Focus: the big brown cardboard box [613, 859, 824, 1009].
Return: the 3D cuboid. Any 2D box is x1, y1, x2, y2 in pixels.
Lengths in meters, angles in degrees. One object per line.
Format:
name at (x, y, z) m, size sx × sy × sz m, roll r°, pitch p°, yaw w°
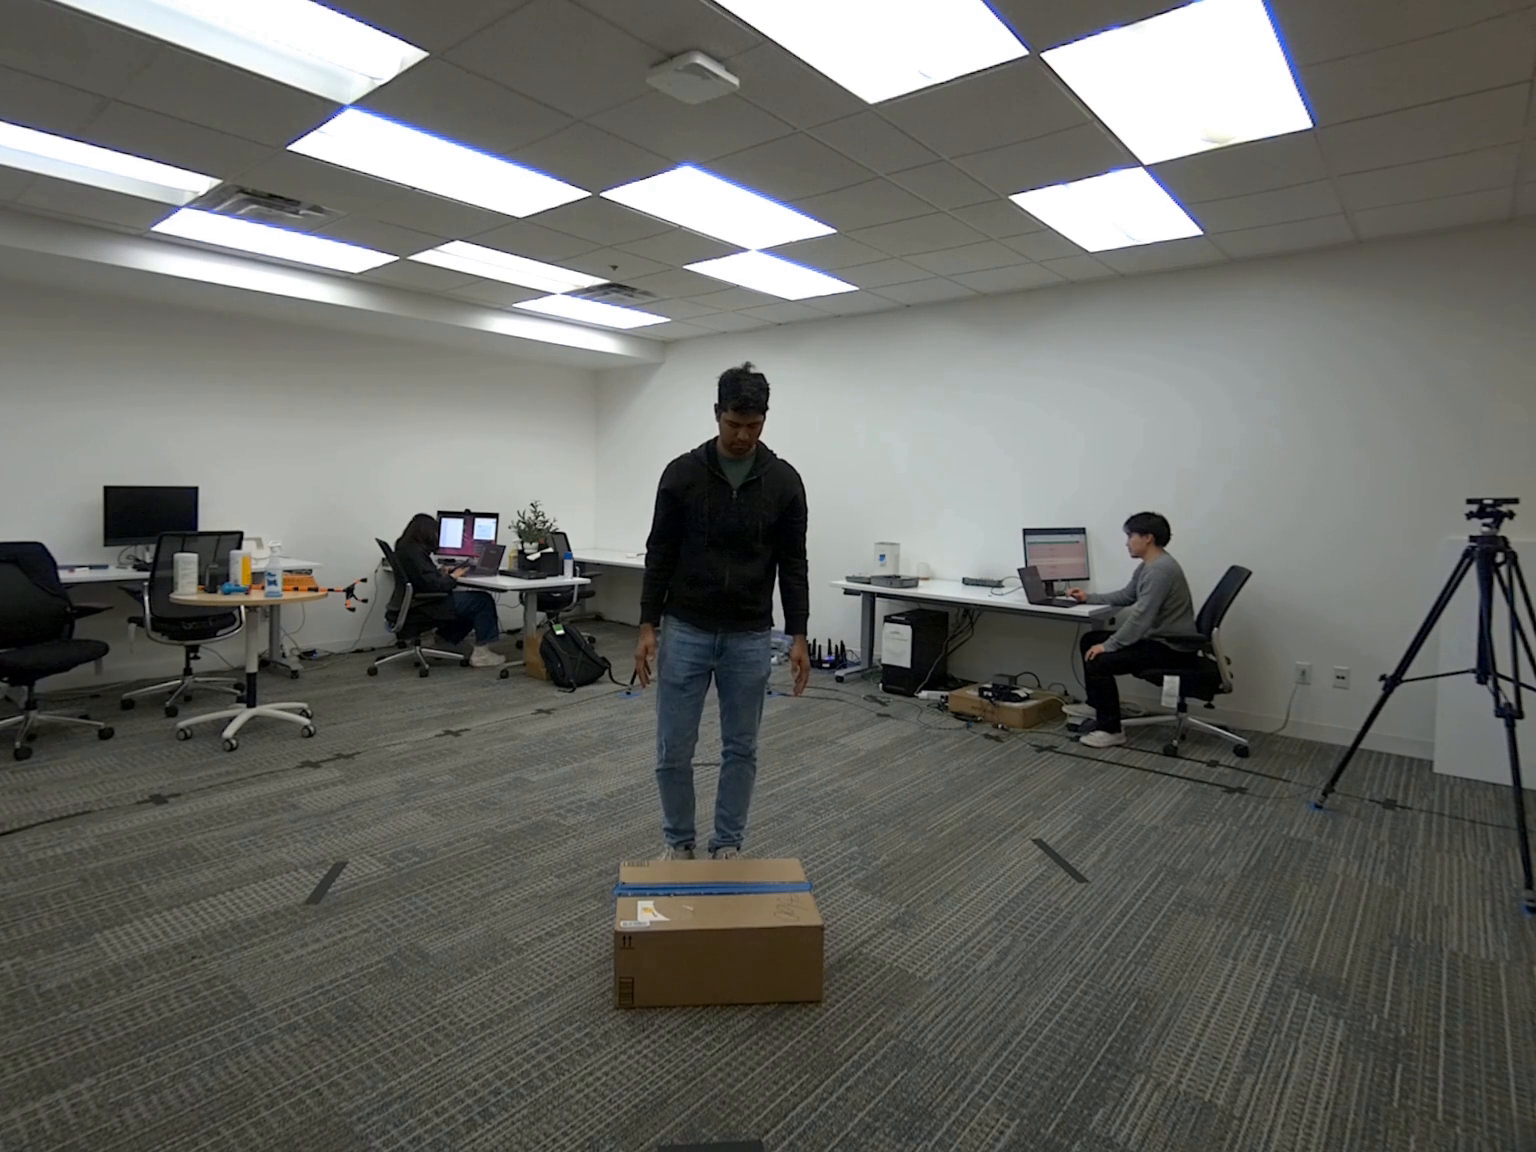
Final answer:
big brown cardboard box at (-0.169, 1.022, 2.475) m, size 0.585 × 0.232 × 0.422 m, roll 1°, pitch 5°, yaw -6°
